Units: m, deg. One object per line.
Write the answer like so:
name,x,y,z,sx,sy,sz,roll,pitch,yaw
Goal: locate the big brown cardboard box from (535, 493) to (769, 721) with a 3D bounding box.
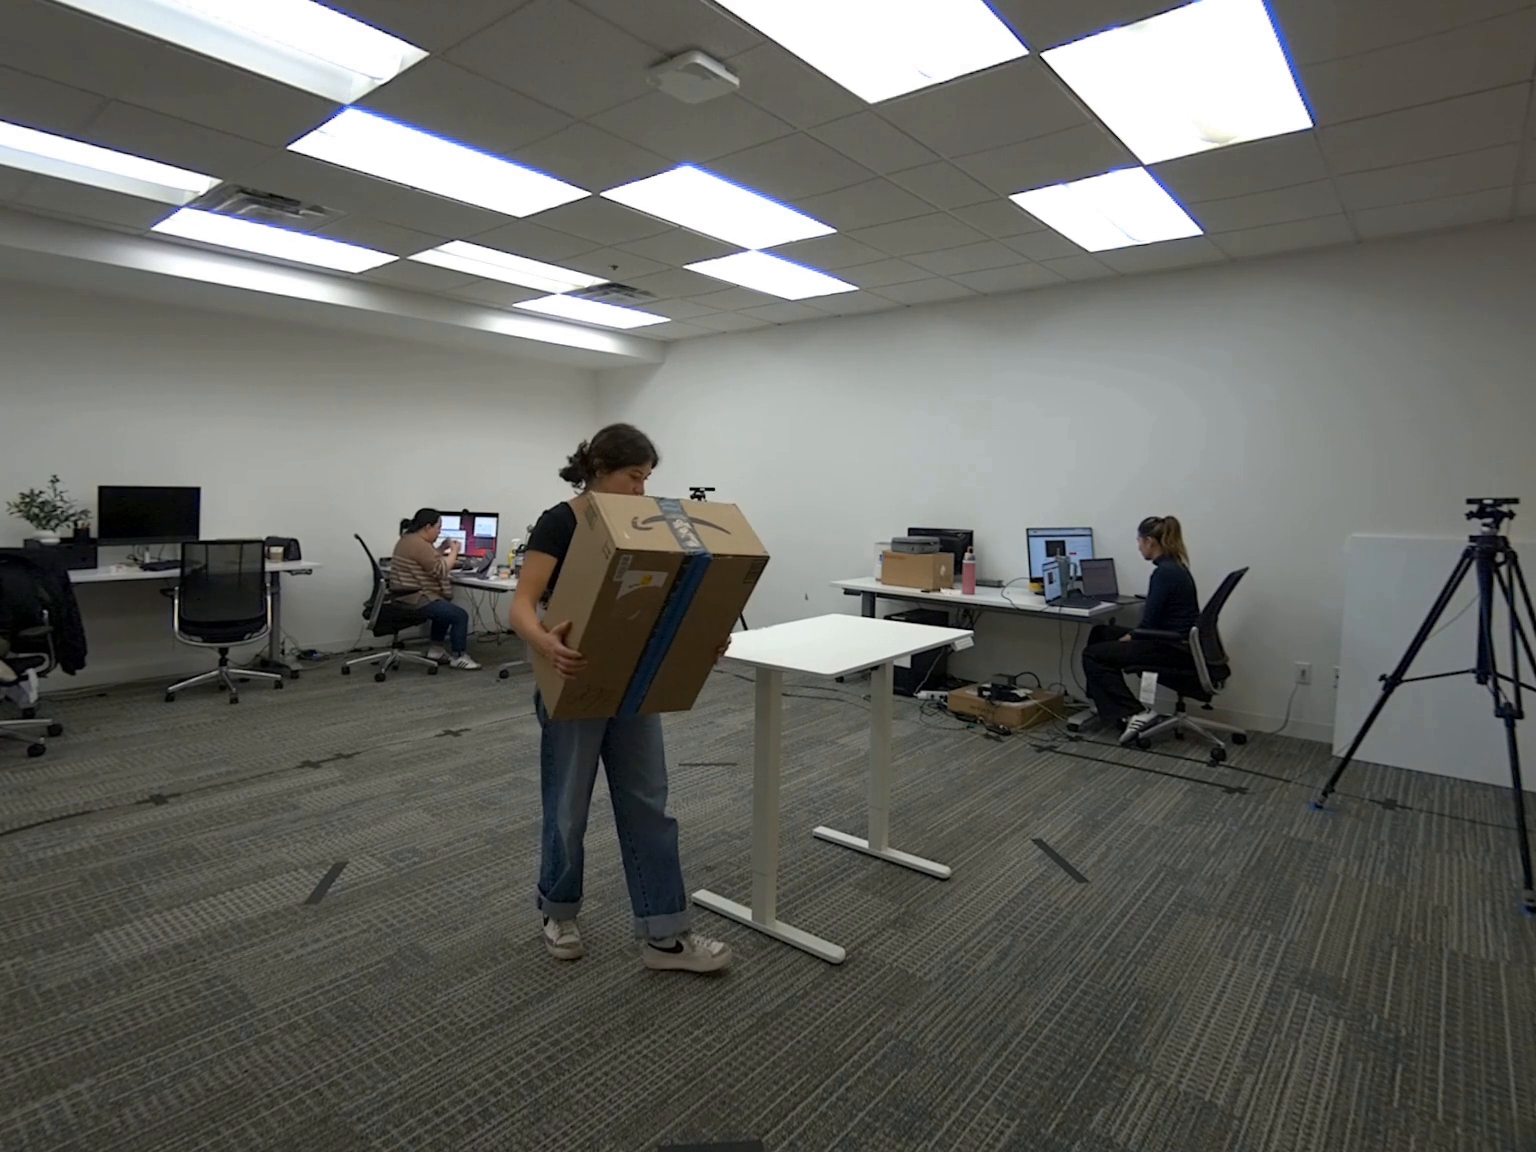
big brown cardboard box,-0.319,0.084,2.166,0.405,0.583,0.243,2,41,-34
